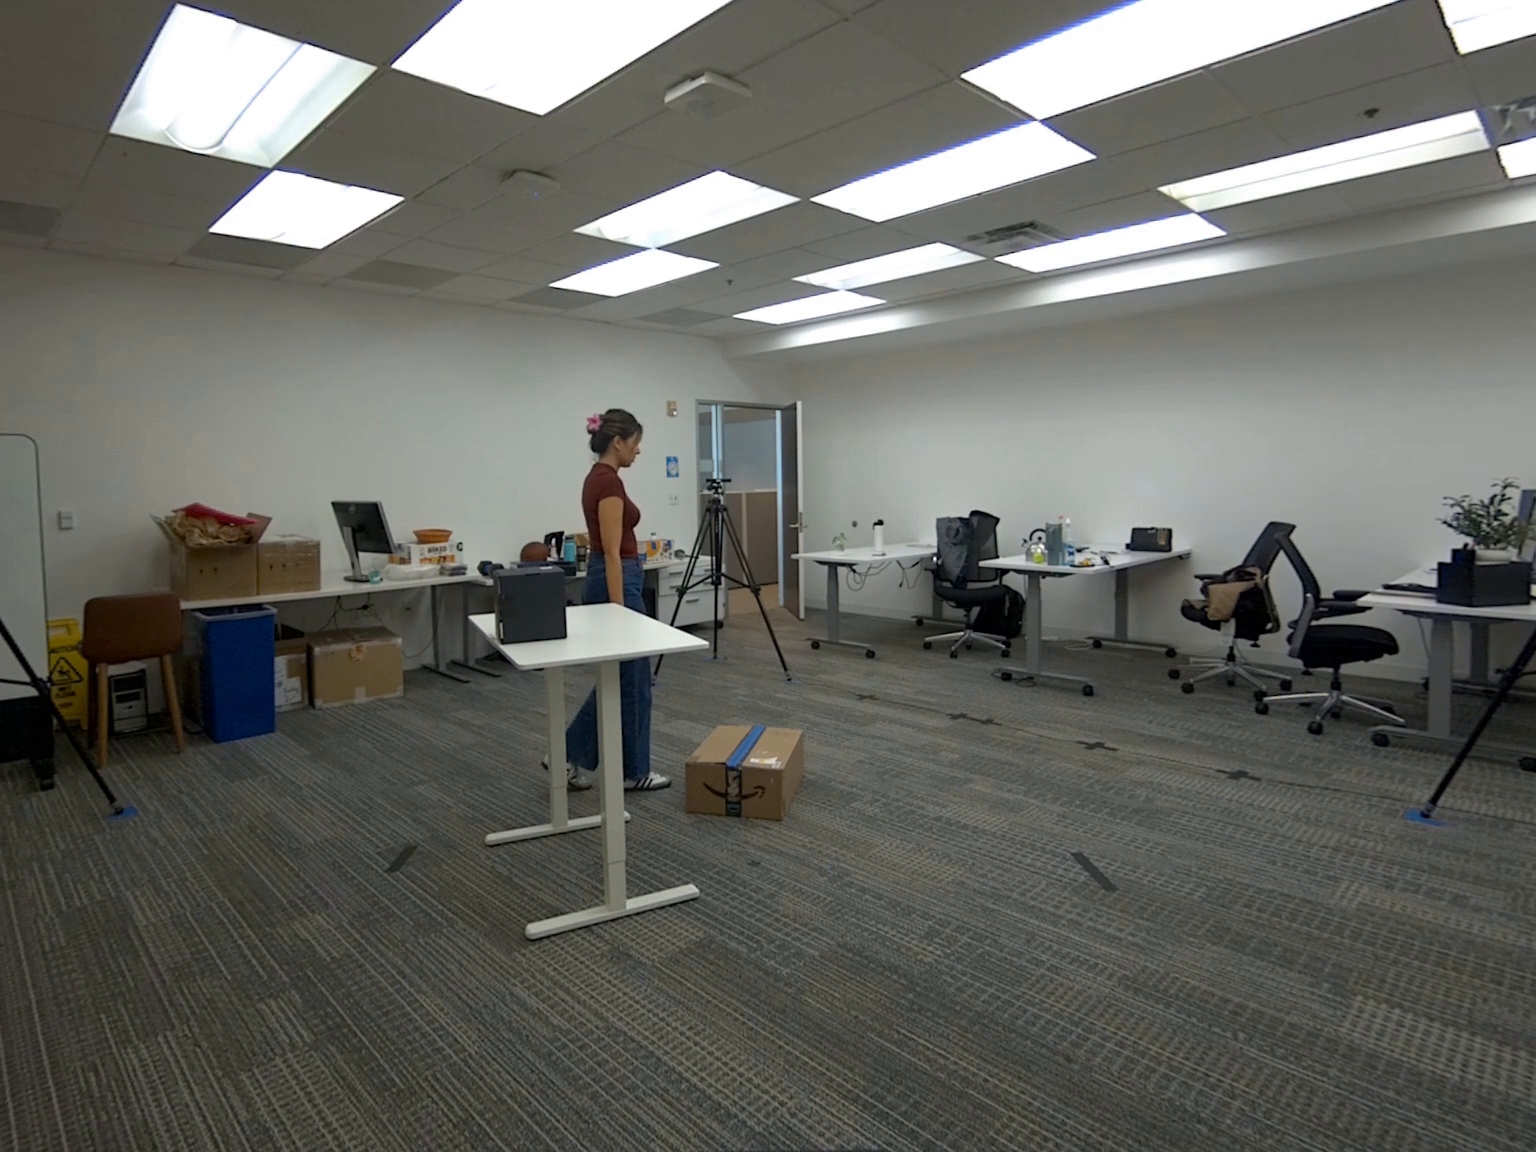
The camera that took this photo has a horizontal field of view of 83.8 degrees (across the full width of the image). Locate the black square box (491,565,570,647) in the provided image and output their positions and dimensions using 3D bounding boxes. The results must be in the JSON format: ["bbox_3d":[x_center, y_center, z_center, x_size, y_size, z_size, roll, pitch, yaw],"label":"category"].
[{"bbox_3d":[-0.796,0.095,2.858,0.213,0.227,0.160,-5,6,-24],"label":"black square box"}]
